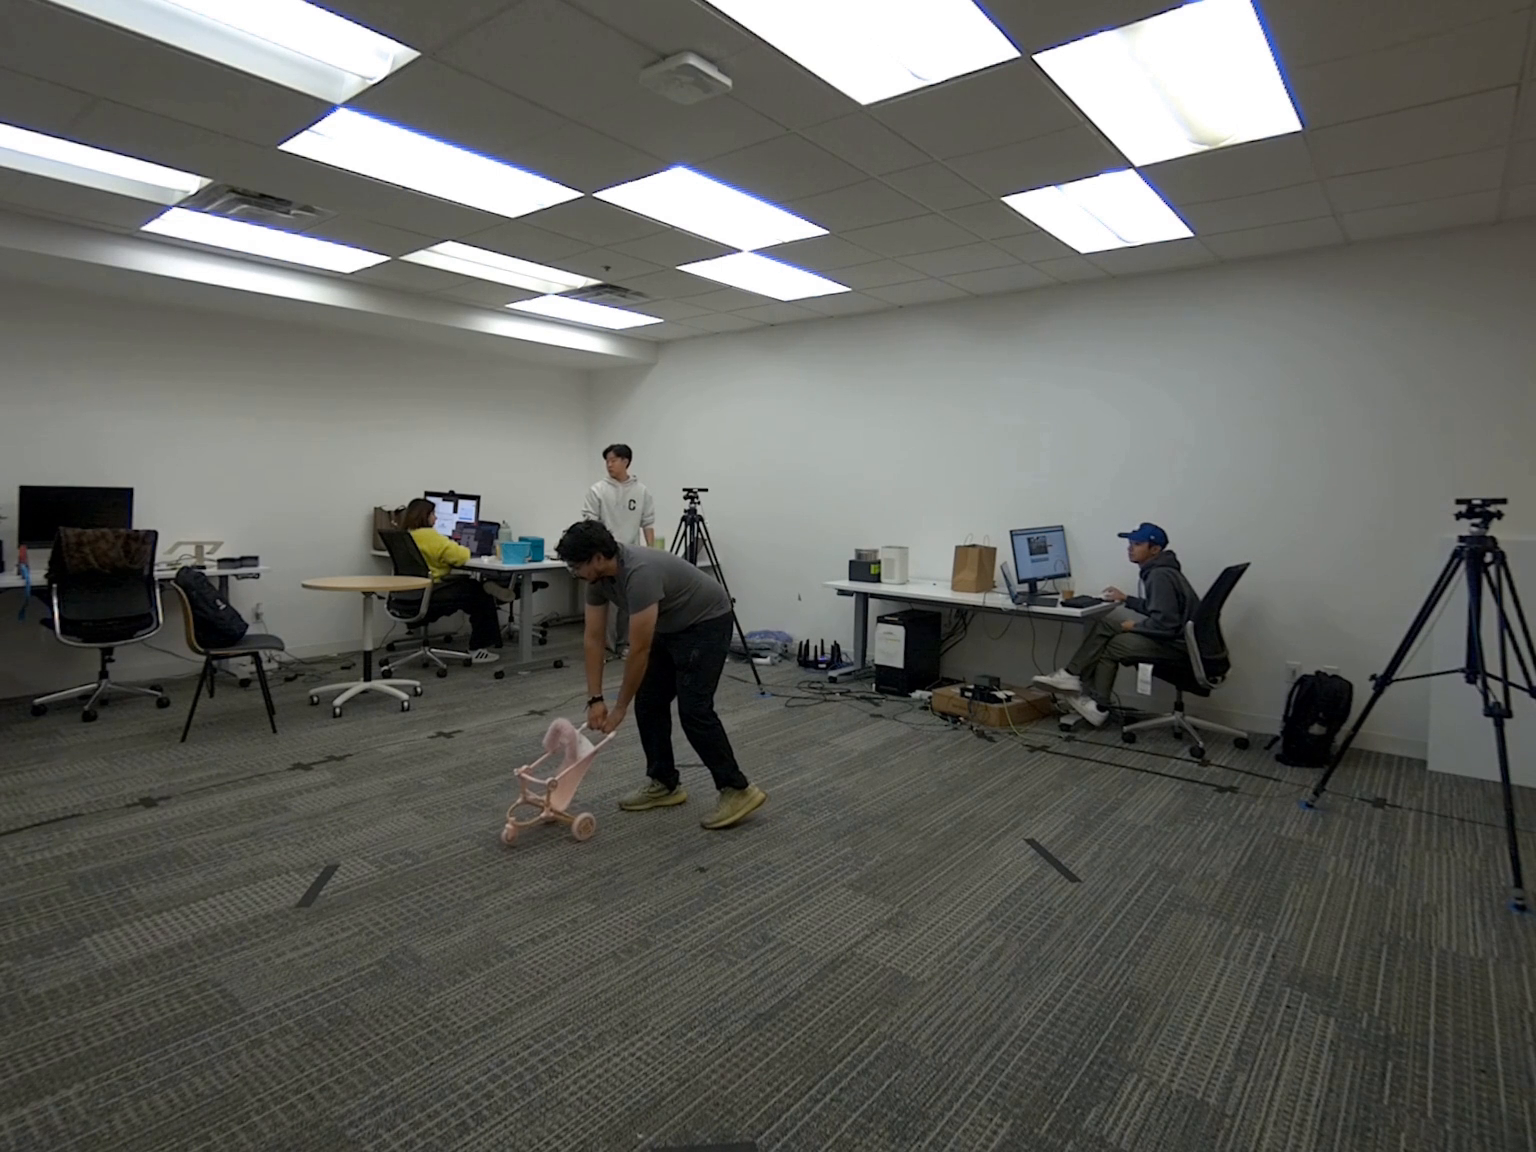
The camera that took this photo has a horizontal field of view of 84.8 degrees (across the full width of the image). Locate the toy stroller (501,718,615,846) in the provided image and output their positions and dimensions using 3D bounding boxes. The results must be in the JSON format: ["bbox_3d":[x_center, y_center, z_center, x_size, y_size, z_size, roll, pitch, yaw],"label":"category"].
[{"bbox_3d":[-0.858,0.806,3.397,0.328,0.538,0.291,23,-12,-39],"label":"toy stroller"}]
